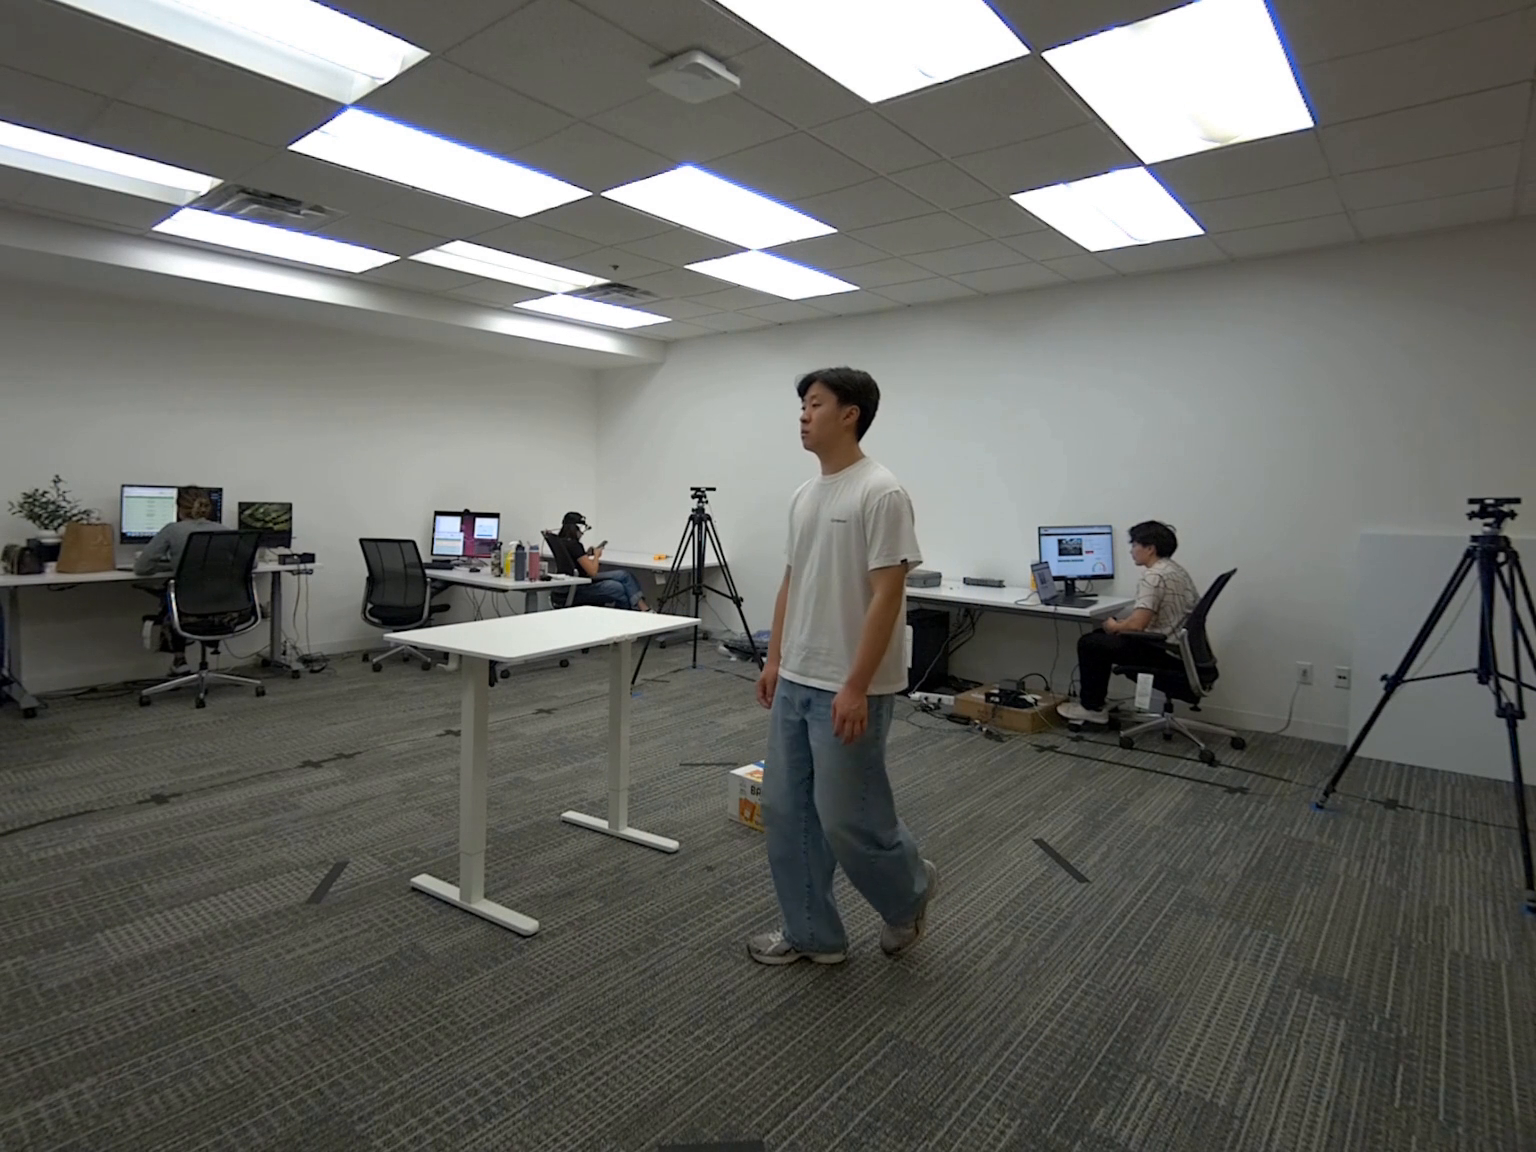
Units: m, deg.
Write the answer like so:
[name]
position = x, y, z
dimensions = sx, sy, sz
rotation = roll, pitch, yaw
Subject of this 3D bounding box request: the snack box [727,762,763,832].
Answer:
[snack box]
position = 0.088, 0.922, 3.551
dimensions = 0.419, 0.205, 0.330
rotation = 6, 7, 42
